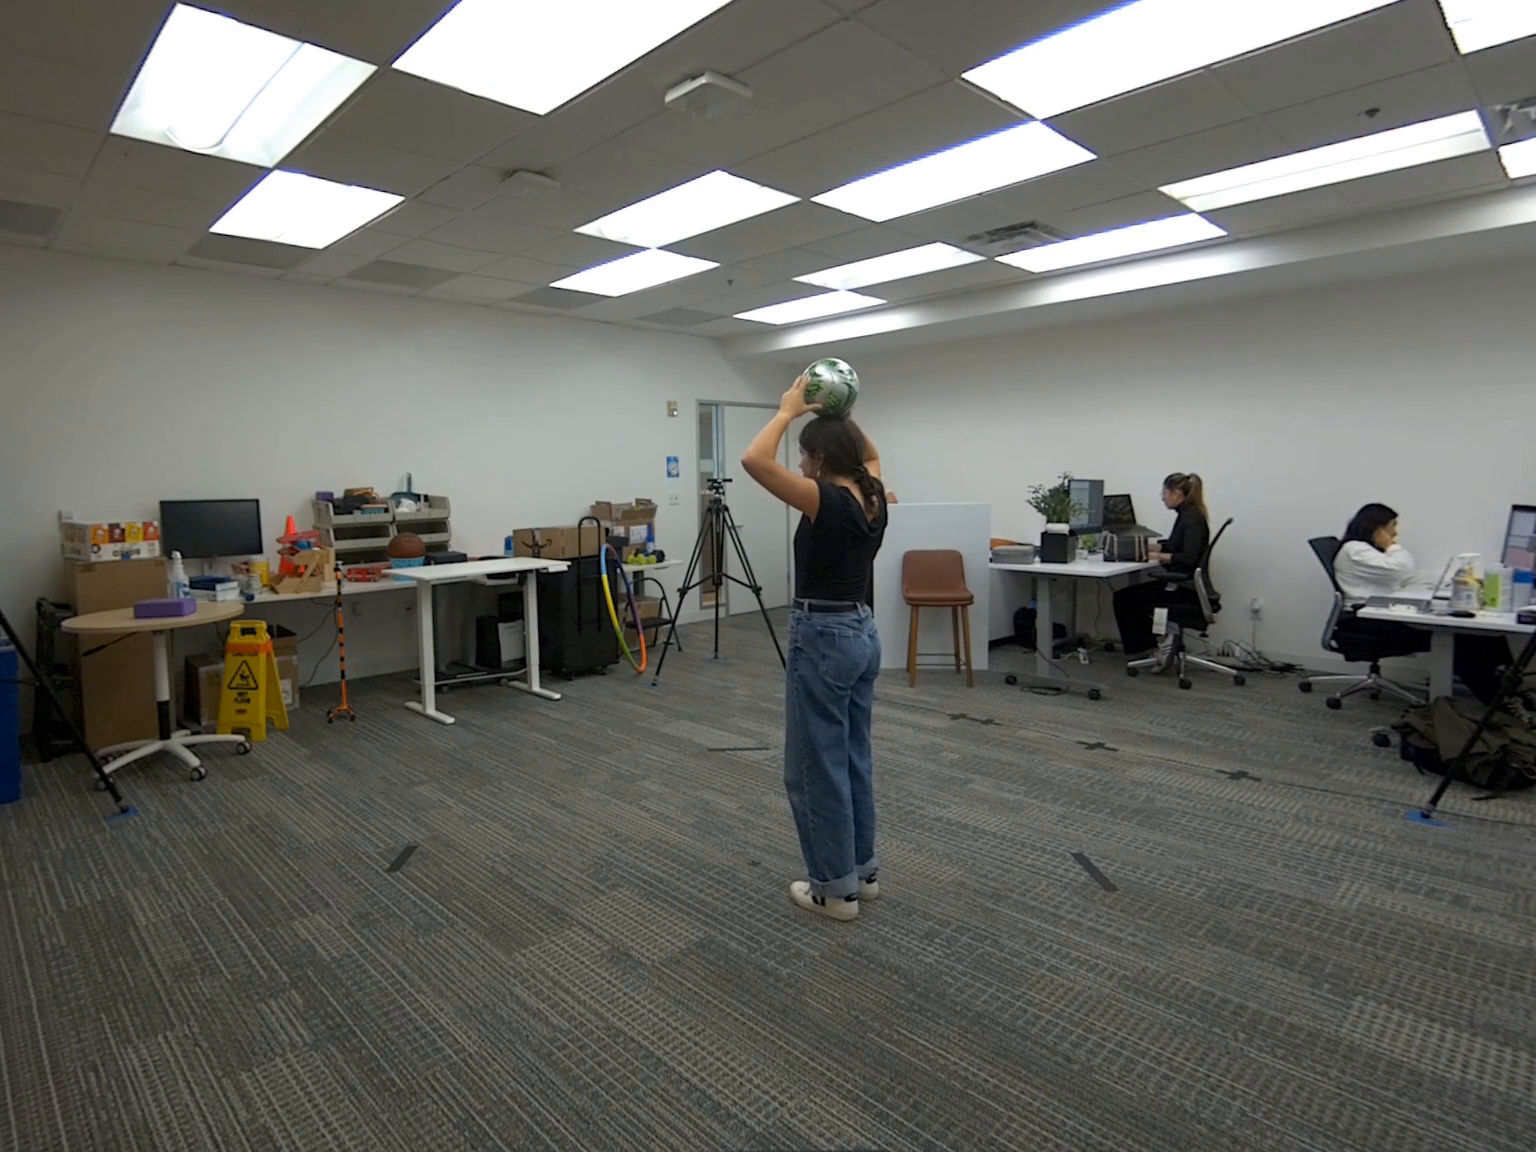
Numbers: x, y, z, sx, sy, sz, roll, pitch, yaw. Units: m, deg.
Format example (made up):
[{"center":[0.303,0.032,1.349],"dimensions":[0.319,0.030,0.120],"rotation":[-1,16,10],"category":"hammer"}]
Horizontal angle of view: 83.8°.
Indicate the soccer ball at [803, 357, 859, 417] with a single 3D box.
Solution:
[{"center":[0.196,-0.596,2.729],"dimensions":[0.187,0.187,0.188],"rotation":[-1,5,-2],"category":"soccer ball"}]
